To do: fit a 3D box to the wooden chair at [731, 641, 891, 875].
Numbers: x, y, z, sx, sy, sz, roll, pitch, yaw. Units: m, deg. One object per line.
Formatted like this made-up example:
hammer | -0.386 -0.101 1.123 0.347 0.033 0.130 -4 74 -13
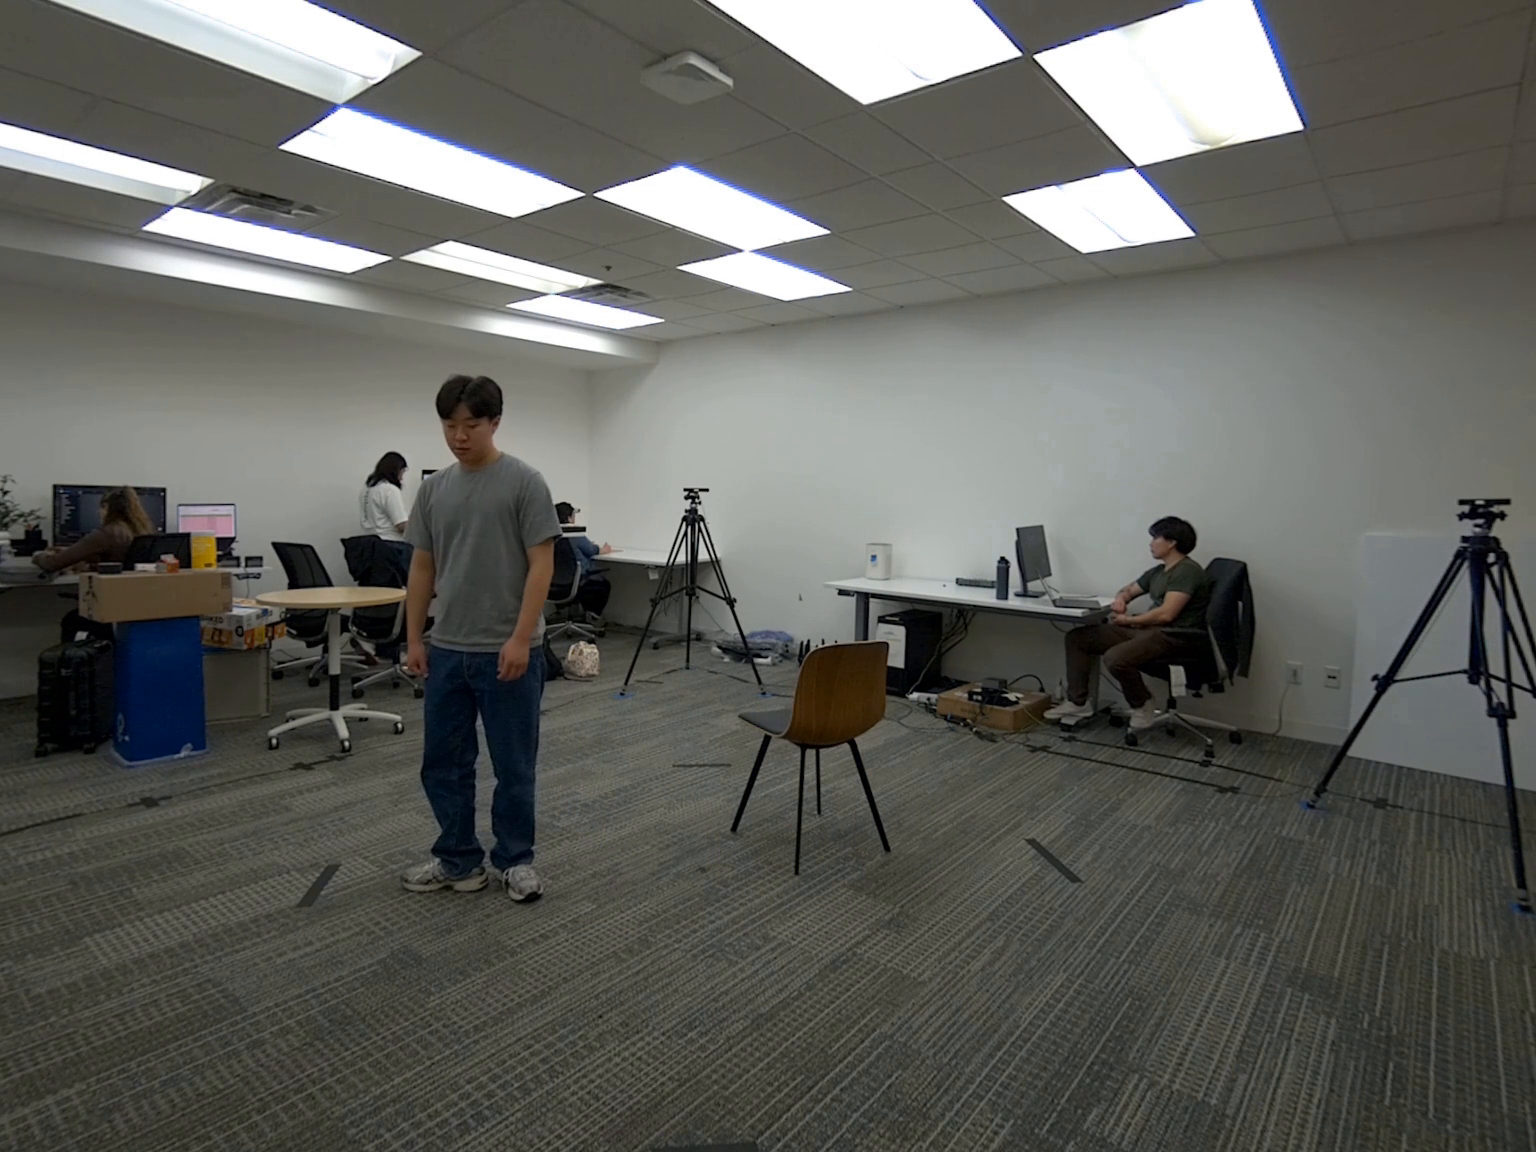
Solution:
wooden chair | 0.150 0.624 3.359 0.465 0.872 0.541 -1 8 -32
